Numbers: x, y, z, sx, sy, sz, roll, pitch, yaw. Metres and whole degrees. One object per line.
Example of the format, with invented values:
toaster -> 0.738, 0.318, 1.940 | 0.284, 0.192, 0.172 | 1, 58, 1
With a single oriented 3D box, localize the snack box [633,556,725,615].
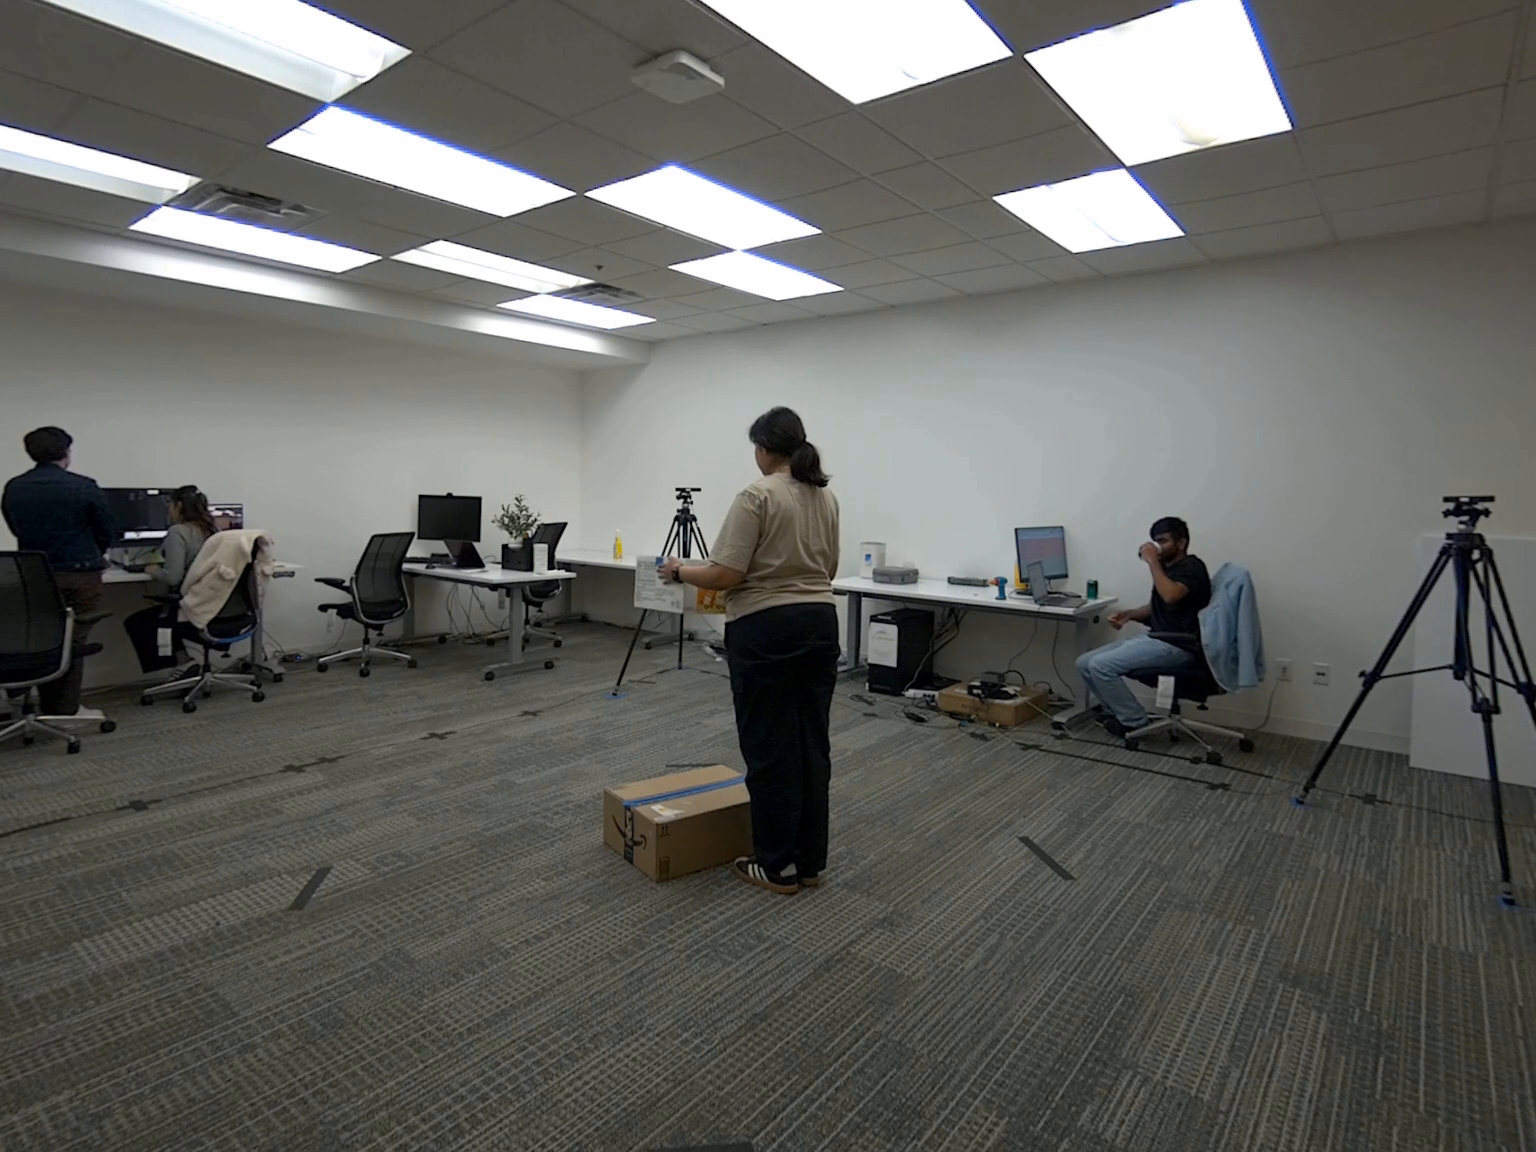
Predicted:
snack box -> -0.272, 0.032, 3.325 | 0.392, 0.206, 0.351 | 2, 1, -38
